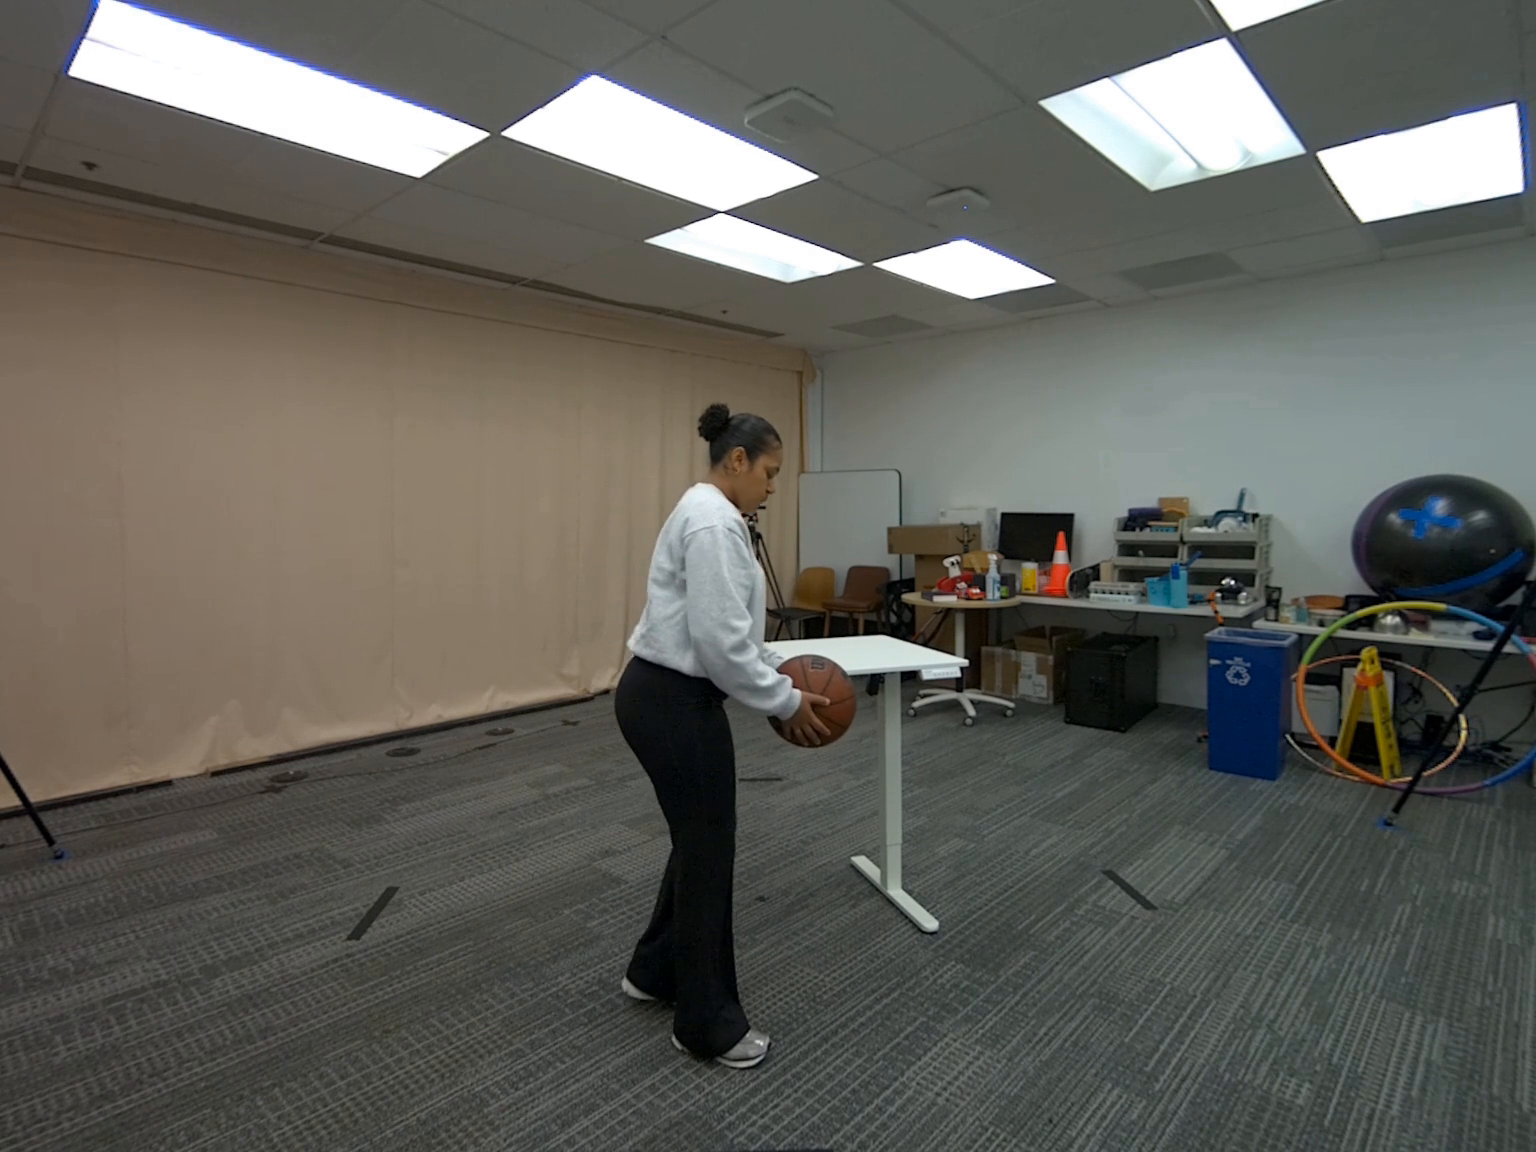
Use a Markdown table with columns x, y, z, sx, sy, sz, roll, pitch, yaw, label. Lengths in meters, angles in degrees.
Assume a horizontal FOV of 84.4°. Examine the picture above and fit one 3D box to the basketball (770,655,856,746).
| x | y | z | sx | sy | sz | roll | pitch | yaw | label |
| --- | --- | --- | --- | --- | --- | --- | --- | --- | --- |
| 0.103 | 0.317 | 2.173 | 0.236 | 0.235 | 0.237 | 0 | 4 | -2 | basketball |
